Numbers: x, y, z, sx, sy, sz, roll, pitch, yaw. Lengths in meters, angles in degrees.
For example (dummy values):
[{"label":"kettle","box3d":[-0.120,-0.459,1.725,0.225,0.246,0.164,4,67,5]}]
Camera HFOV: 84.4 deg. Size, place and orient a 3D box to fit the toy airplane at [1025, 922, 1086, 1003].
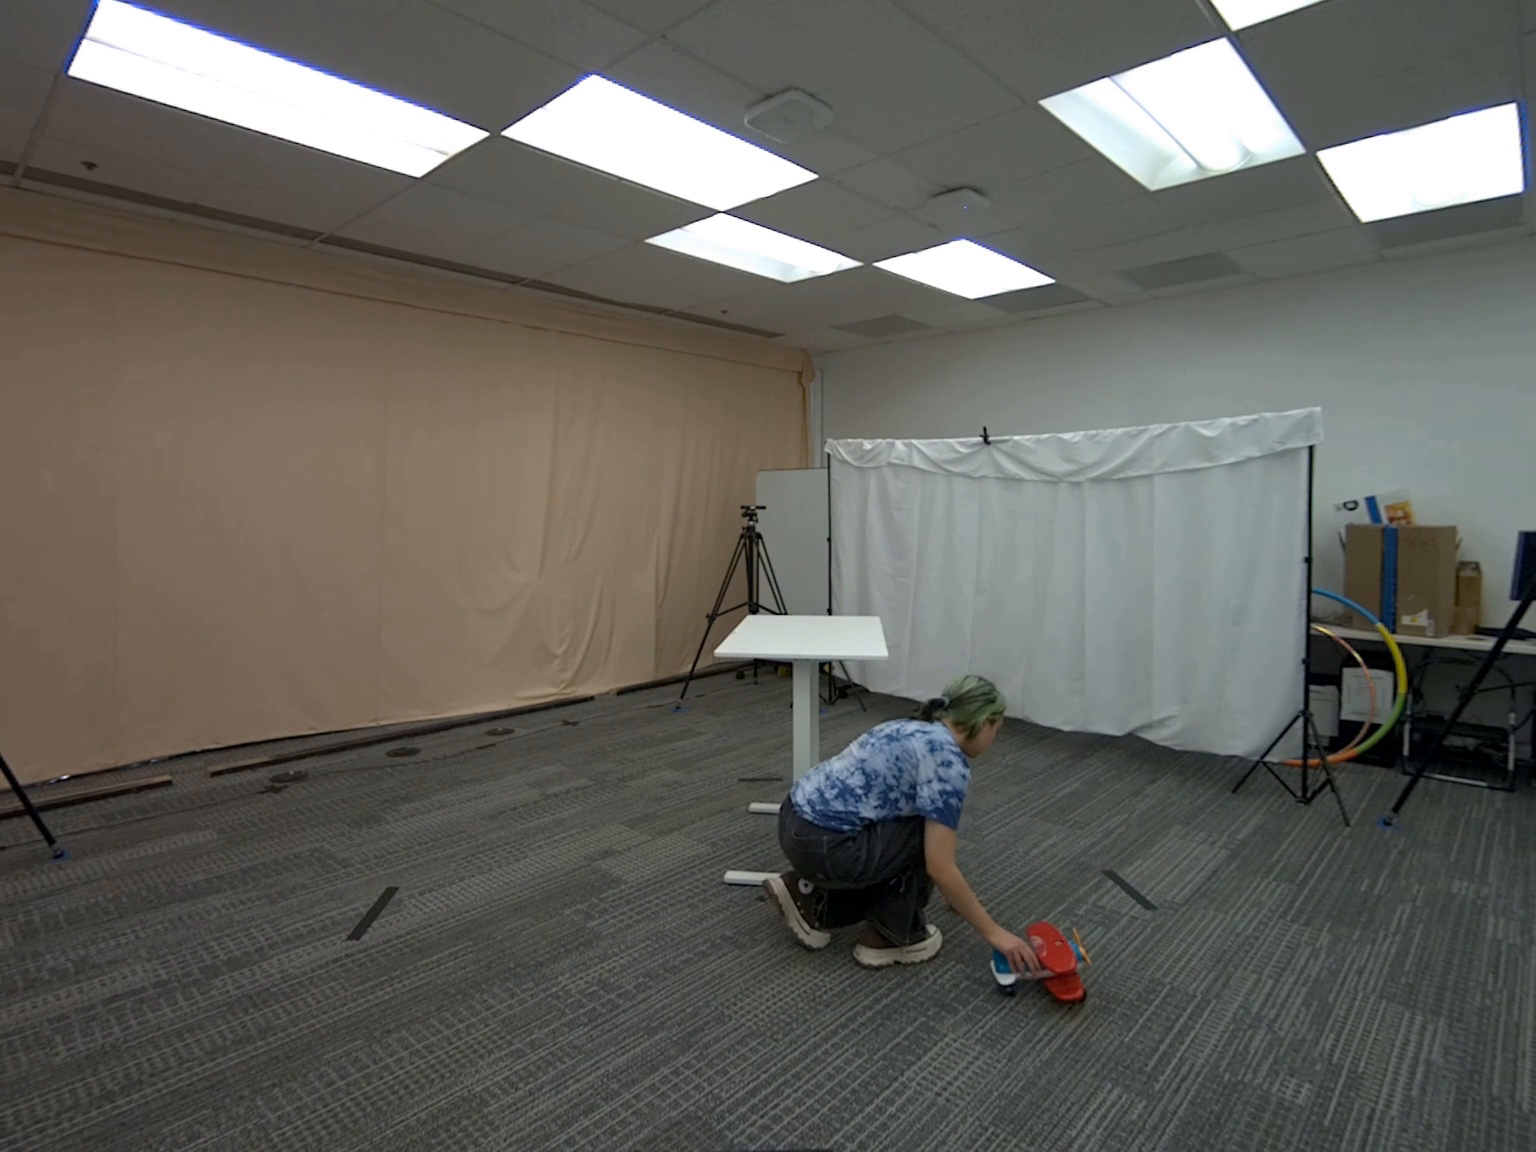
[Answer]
[{"label":"toy airplane","box3d":[0.793,1.118,2.375,0.253,0.156,0.258,0,4,-26]}]
